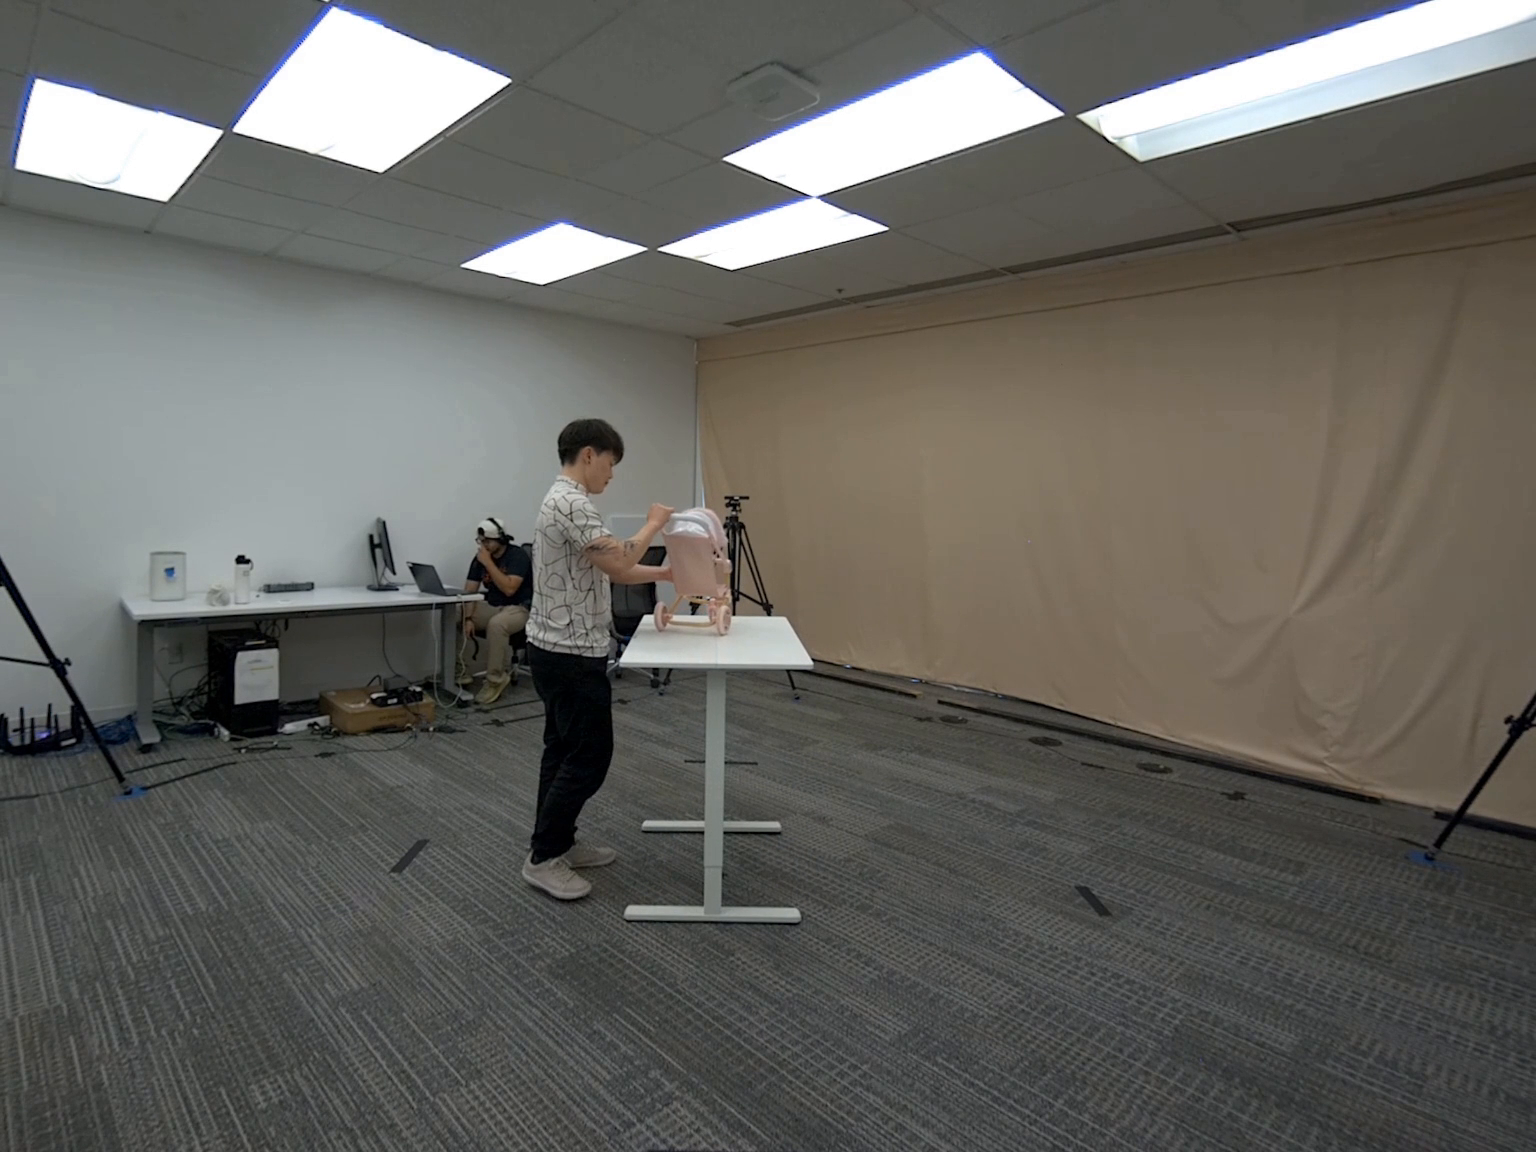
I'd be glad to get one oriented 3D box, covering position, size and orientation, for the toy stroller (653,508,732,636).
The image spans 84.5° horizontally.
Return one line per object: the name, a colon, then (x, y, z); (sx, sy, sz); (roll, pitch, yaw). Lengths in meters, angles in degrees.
toy stroller: (-0.271, -0.019, 3.203); (0.286, 0.528, 0.340); (4, 18, 21)
